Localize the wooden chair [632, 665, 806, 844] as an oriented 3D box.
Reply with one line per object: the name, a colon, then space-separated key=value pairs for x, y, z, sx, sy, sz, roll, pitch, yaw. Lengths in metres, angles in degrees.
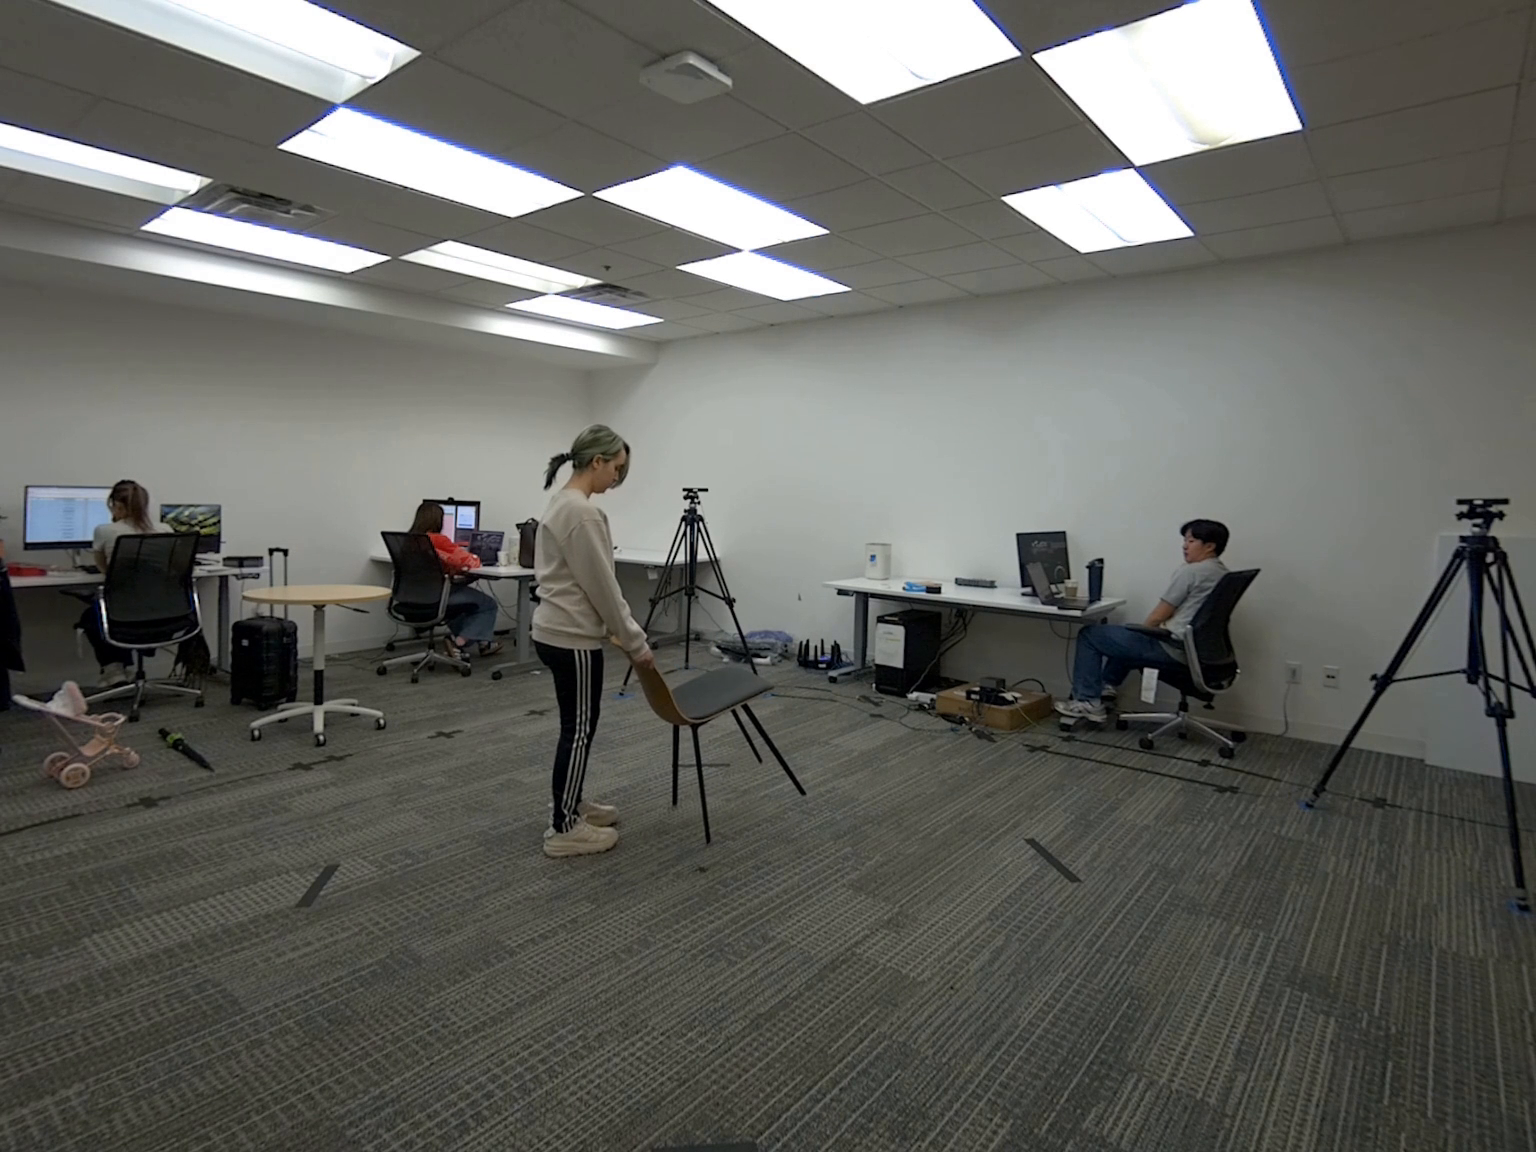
wooden chair: x=-0.255 y=0.550 z=3.537 sx=0.518 sy=0.866 sz=0.489 roll=-25 pitch=11 yaw=-19
